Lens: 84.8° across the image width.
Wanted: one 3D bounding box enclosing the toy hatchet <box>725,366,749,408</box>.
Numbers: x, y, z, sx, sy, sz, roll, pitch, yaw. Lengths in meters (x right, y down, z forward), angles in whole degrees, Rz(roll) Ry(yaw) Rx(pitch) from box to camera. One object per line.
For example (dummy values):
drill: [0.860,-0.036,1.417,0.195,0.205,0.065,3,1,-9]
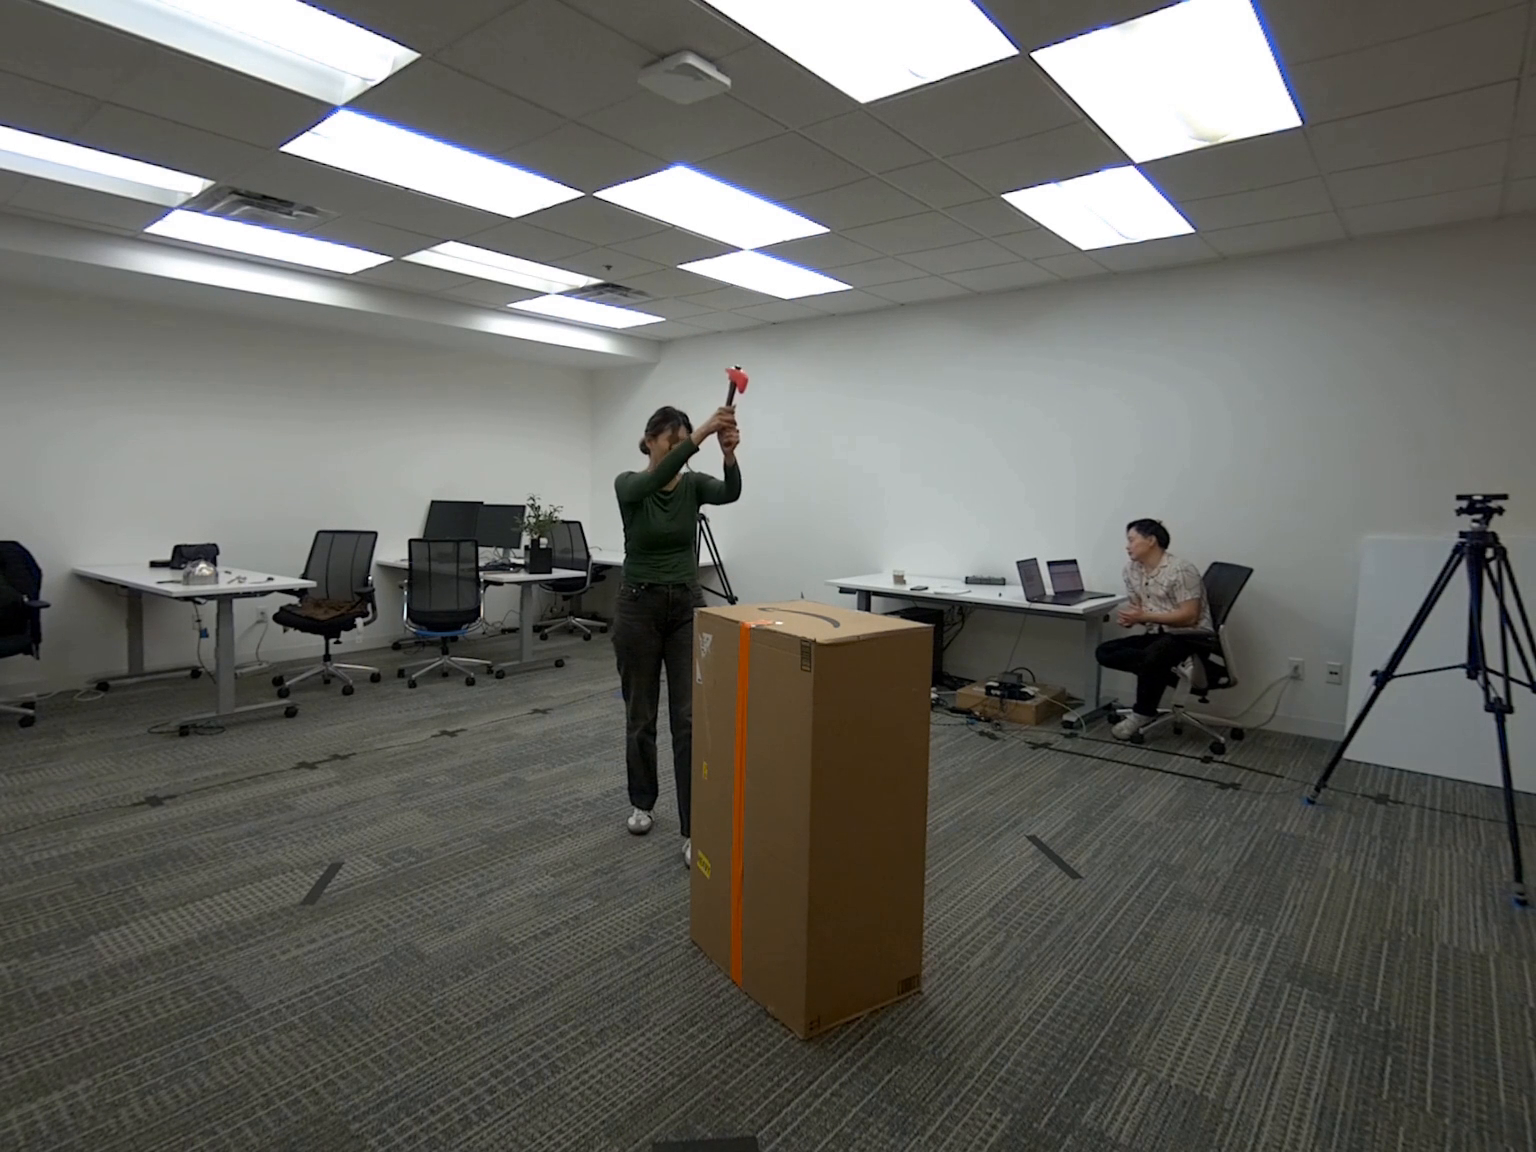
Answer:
toy hatchet: [-0.126,-0.578,2.874,0.029,0.268,0.136,-1,8,-38]
